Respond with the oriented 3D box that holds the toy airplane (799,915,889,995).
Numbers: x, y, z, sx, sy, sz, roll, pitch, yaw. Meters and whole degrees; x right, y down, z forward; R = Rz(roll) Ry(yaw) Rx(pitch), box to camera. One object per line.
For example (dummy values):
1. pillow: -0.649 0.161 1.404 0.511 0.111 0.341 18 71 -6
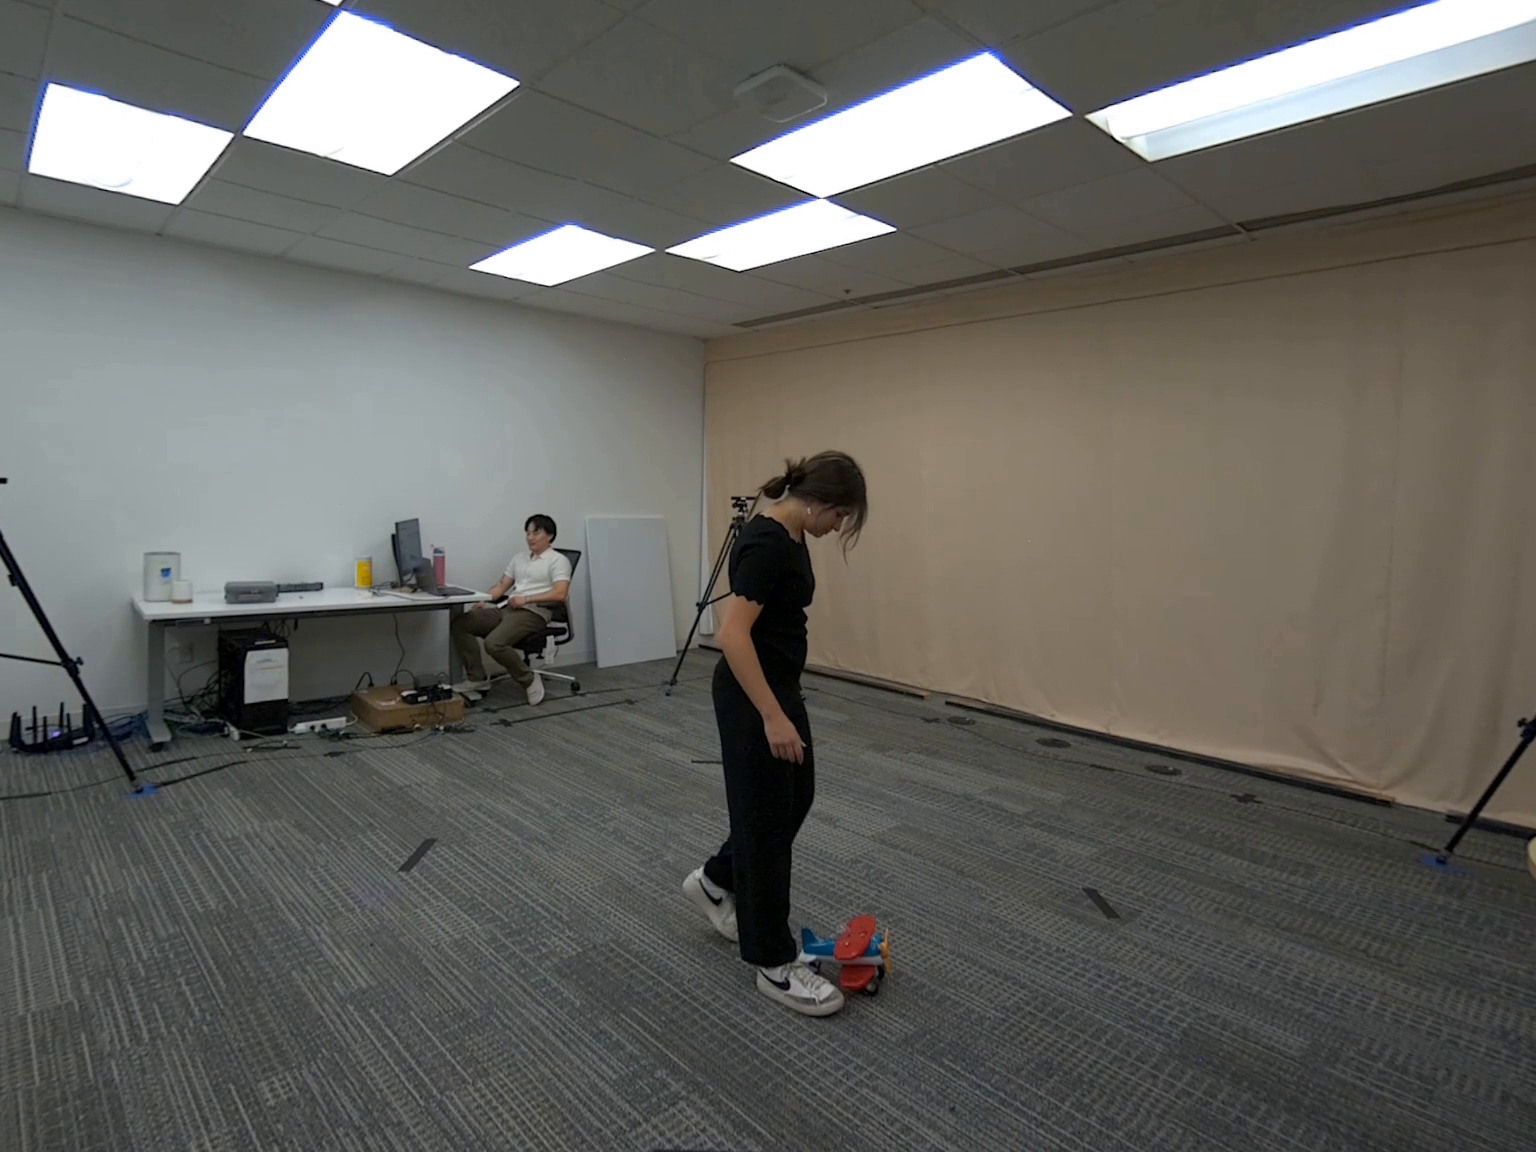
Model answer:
1. toy airplane: 0.212 1.103 2.427 0.257 0.156 0.253 1 6 -8
